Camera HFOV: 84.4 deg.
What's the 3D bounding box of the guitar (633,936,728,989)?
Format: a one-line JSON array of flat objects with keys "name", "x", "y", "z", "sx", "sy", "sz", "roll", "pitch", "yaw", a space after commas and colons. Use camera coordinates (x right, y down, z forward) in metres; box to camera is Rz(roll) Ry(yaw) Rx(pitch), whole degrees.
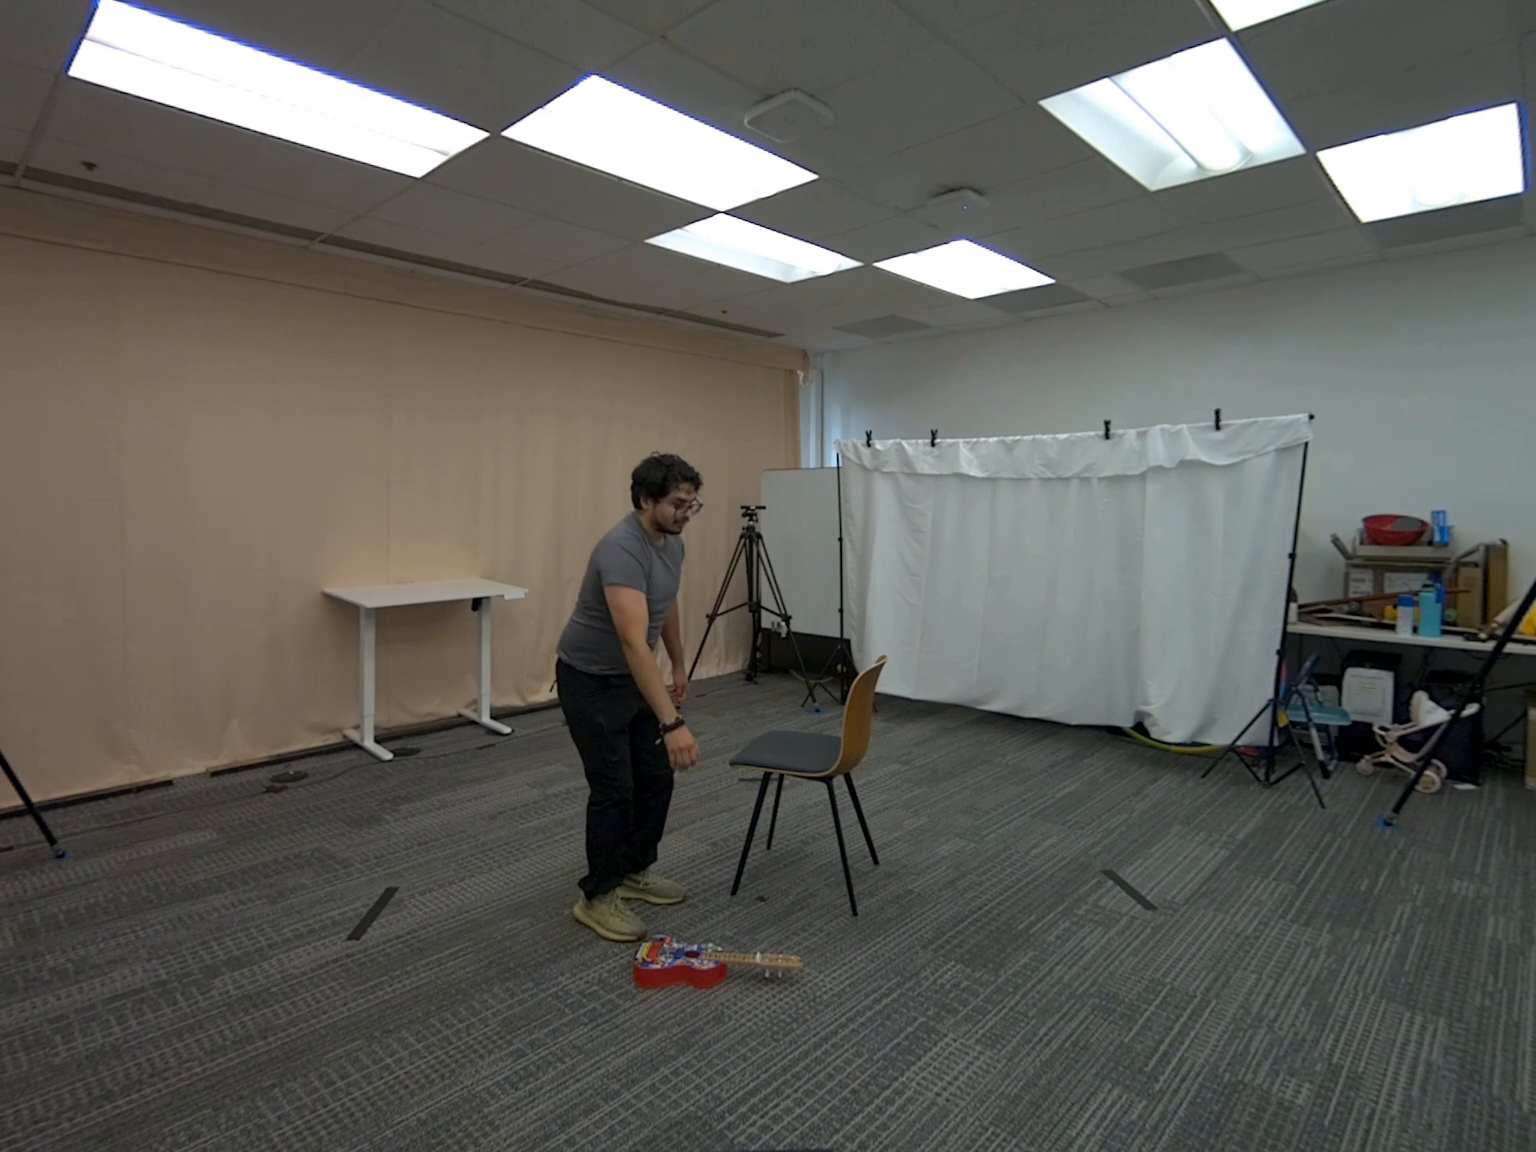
[{"name": "guitar", "x": -0.156, "y": 1.156, "z": 2.464, "sx": 0.507, "sy": 0.070, "sz": 0.190, "roll": 1, "pitch": 4, "yaw": 17}]
